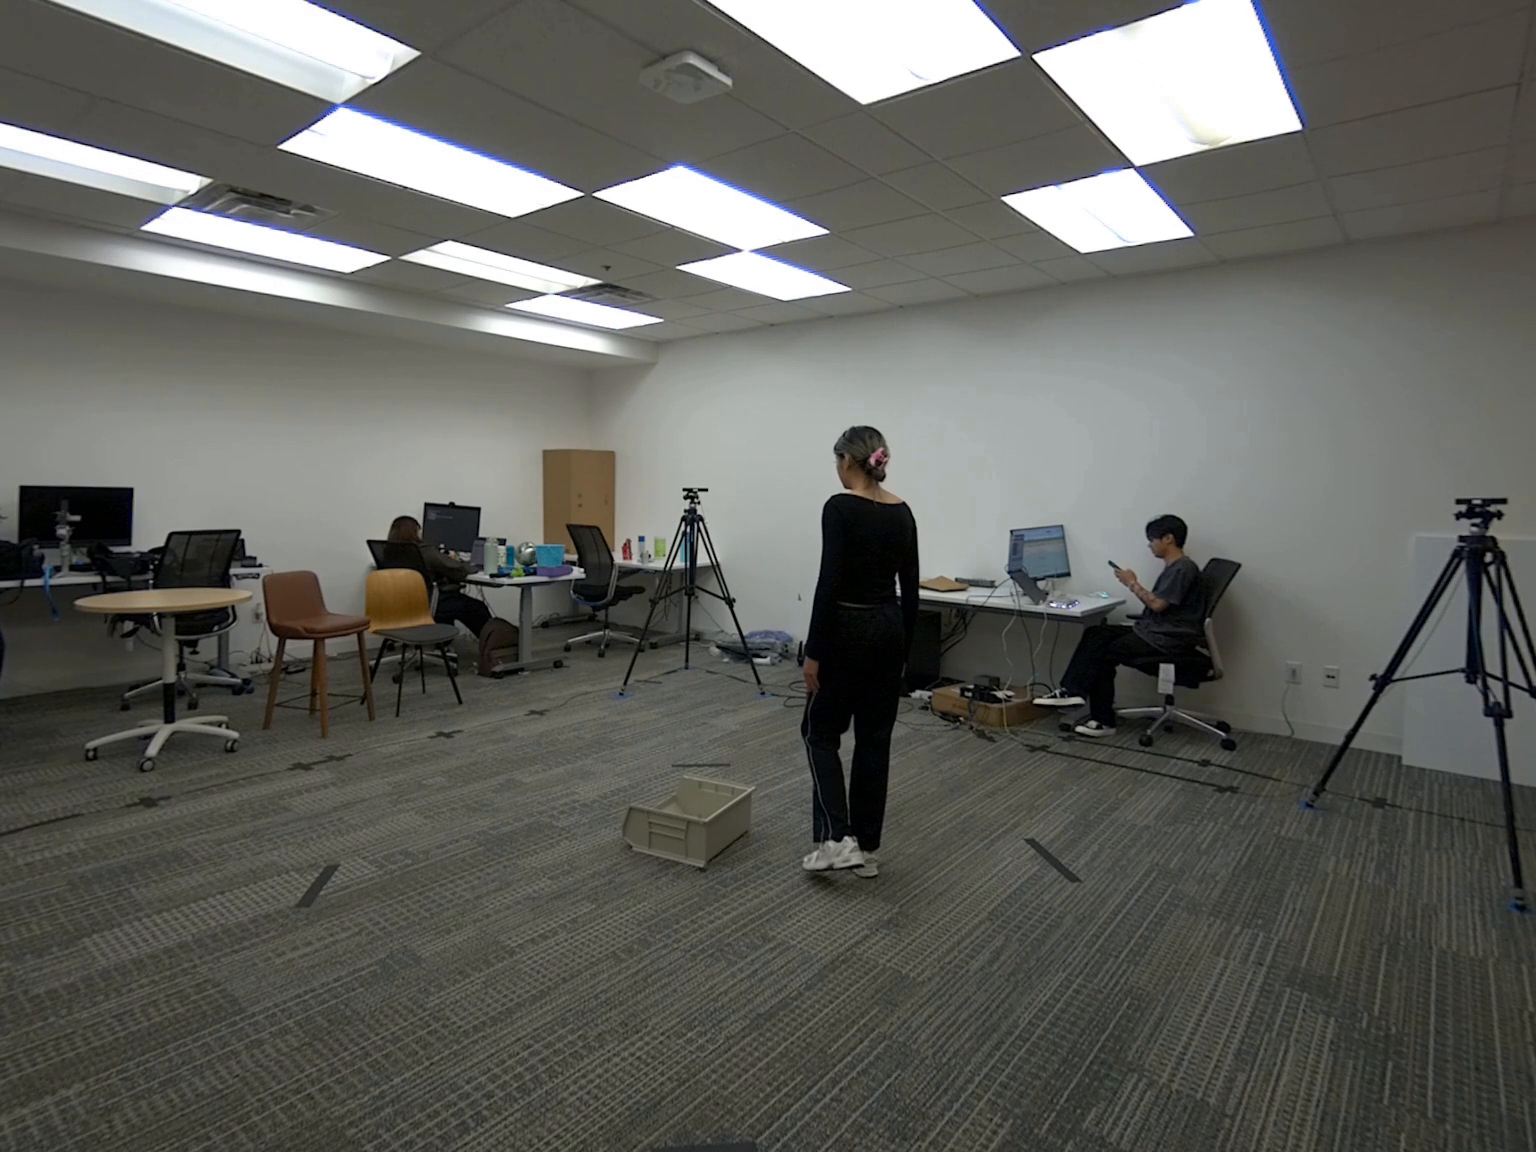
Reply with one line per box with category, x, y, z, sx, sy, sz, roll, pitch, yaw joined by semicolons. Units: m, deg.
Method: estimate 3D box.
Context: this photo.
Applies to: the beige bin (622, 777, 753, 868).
beige bin;-0.320;0.956;3.377;0.388;0.188;0.413;4;6;26
